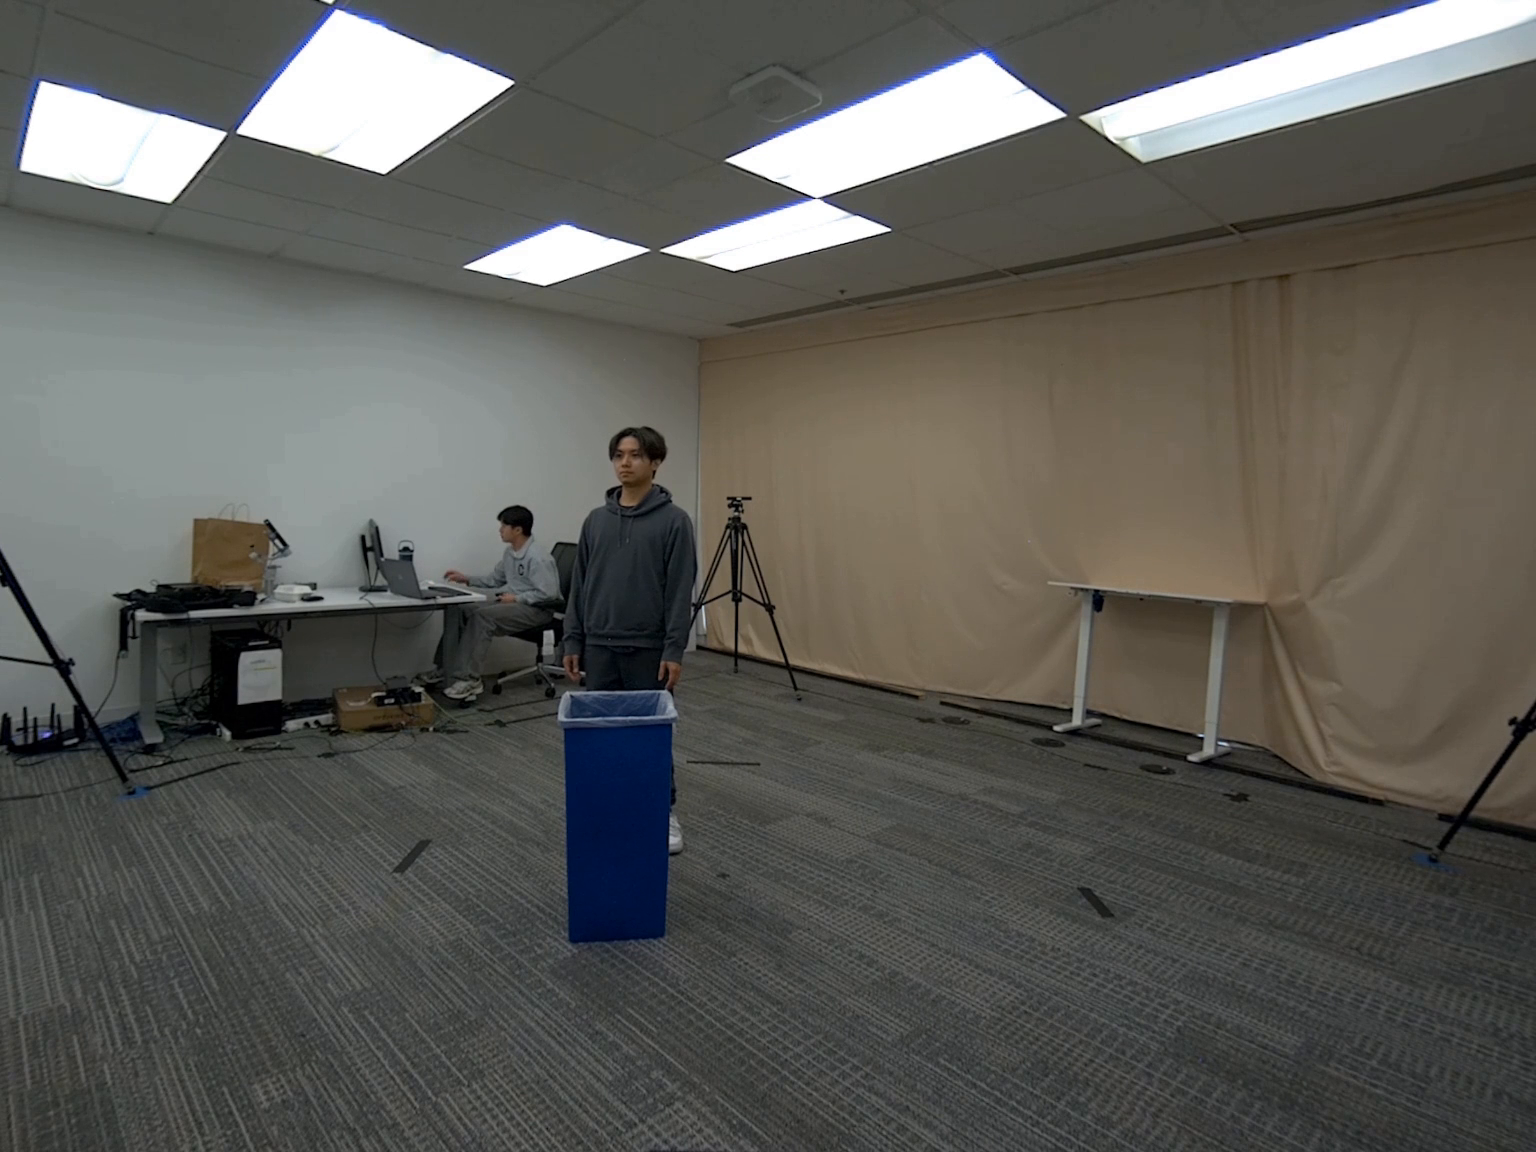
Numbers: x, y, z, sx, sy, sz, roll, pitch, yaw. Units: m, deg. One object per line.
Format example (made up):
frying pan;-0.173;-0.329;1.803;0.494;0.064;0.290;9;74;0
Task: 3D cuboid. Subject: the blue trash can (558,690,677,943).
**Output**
blue trash can;-0.507;0.772;2.755;0.371;0.712;0.382;1;3;-10
